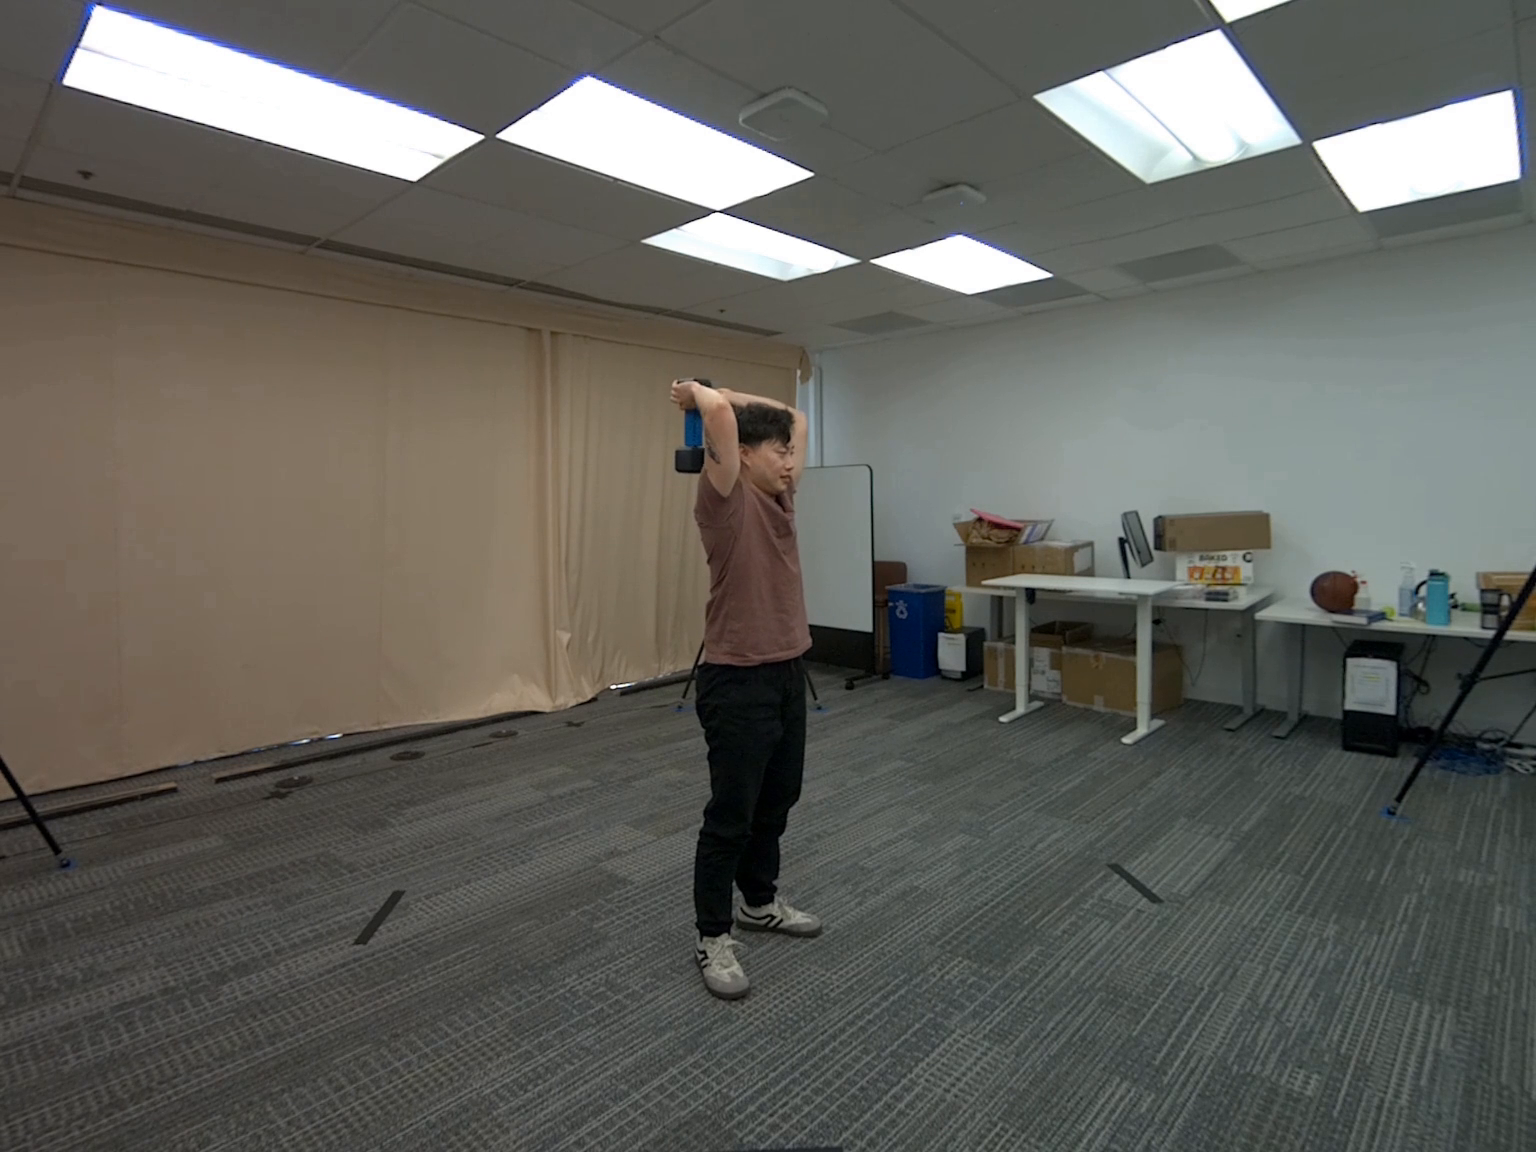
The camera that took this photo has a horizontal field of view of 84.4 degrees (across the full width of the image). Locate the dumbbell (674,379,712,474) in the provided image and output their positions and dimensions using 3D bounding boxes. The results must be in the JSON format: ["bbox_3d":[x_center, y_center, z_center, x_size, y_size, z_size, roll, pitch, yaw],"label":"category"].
[{"bbox_3d":[-0.227,-0.466,2.641,0.127,0.293,0.105,6,6,39],"label":"dumbbell"}]
